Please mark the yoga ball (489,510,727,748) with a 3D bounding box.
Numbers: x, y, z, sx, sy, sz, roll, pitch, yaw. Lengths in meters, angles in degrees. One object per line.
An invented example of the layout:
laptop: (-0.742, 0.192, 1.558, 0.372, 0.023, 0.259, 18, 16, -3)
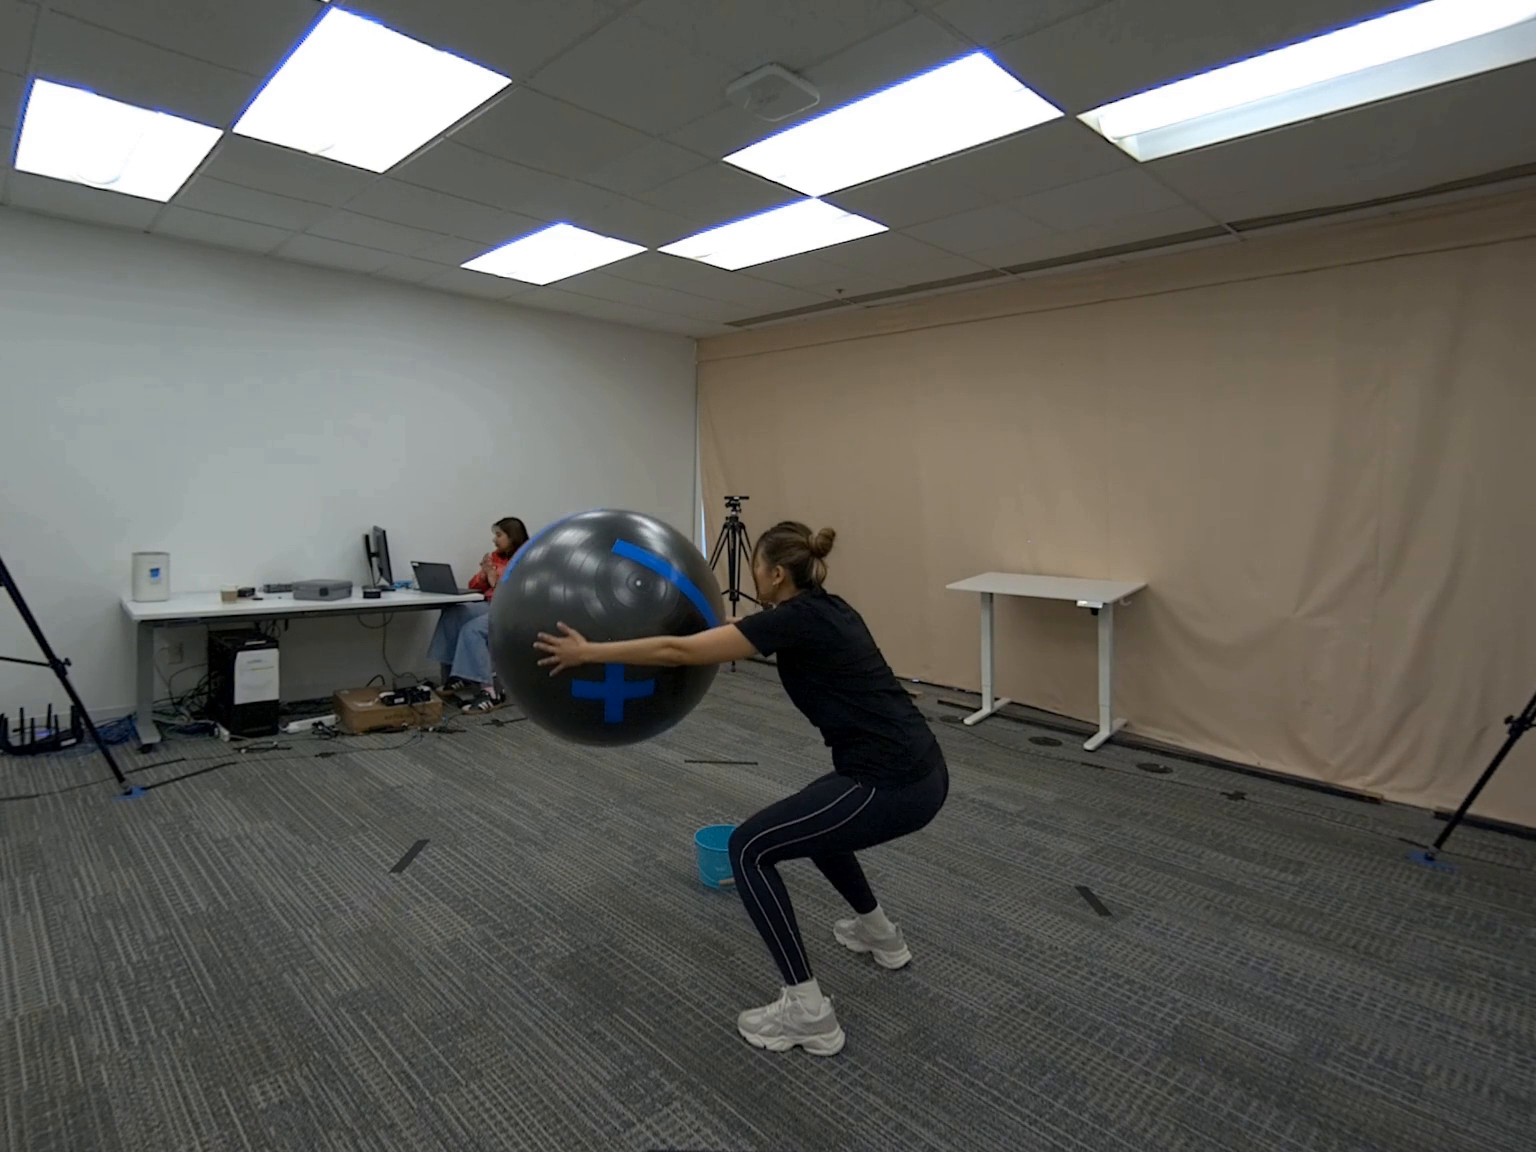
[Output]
yoga ball: (-0.516, 0.169, 2.713, 0.757, 0.756, 0.761, 1, 4, -1)
